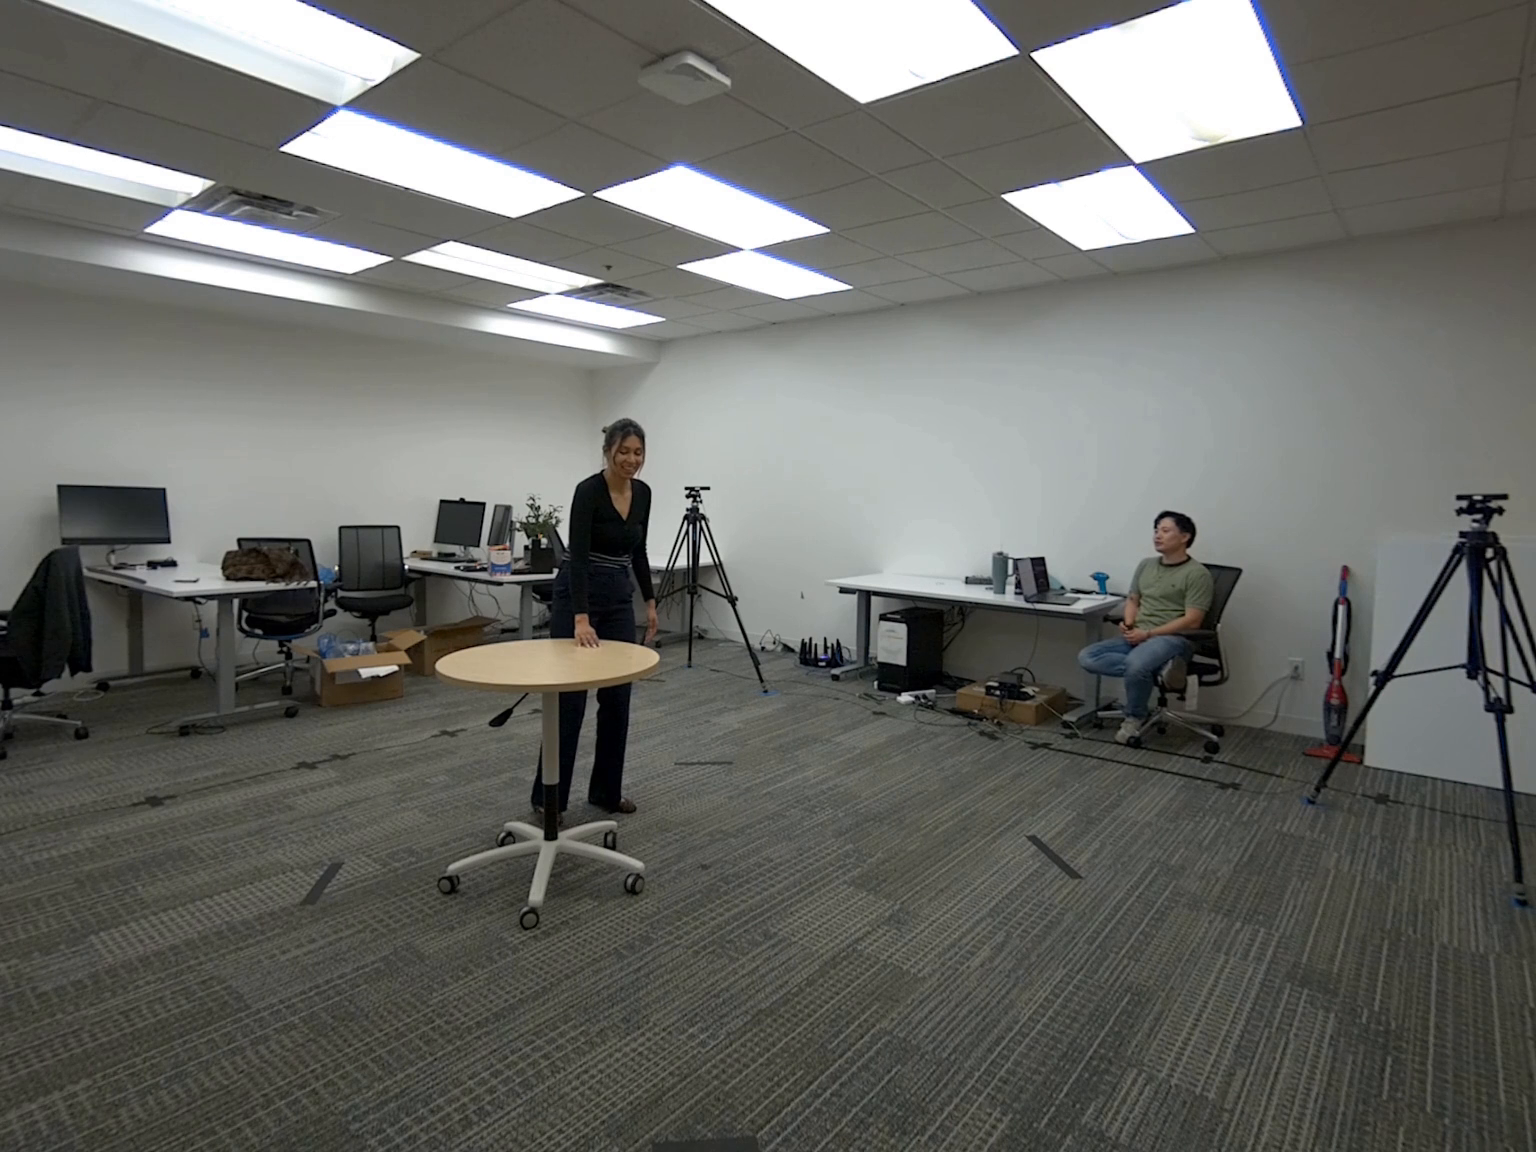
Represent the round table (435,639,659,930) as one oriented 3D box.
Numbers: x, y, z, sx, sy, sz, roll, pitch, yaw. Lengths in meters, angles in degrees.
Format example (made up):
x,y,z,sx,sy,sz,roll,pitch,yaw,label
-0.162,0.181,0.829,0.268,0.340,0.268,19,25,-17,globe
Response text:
x,y,z,sx,sy,sz,roll,pitch,yaw,label
-0.780,0.681,2.997,0.763,0.791,0.768,0,4,-2,round table
